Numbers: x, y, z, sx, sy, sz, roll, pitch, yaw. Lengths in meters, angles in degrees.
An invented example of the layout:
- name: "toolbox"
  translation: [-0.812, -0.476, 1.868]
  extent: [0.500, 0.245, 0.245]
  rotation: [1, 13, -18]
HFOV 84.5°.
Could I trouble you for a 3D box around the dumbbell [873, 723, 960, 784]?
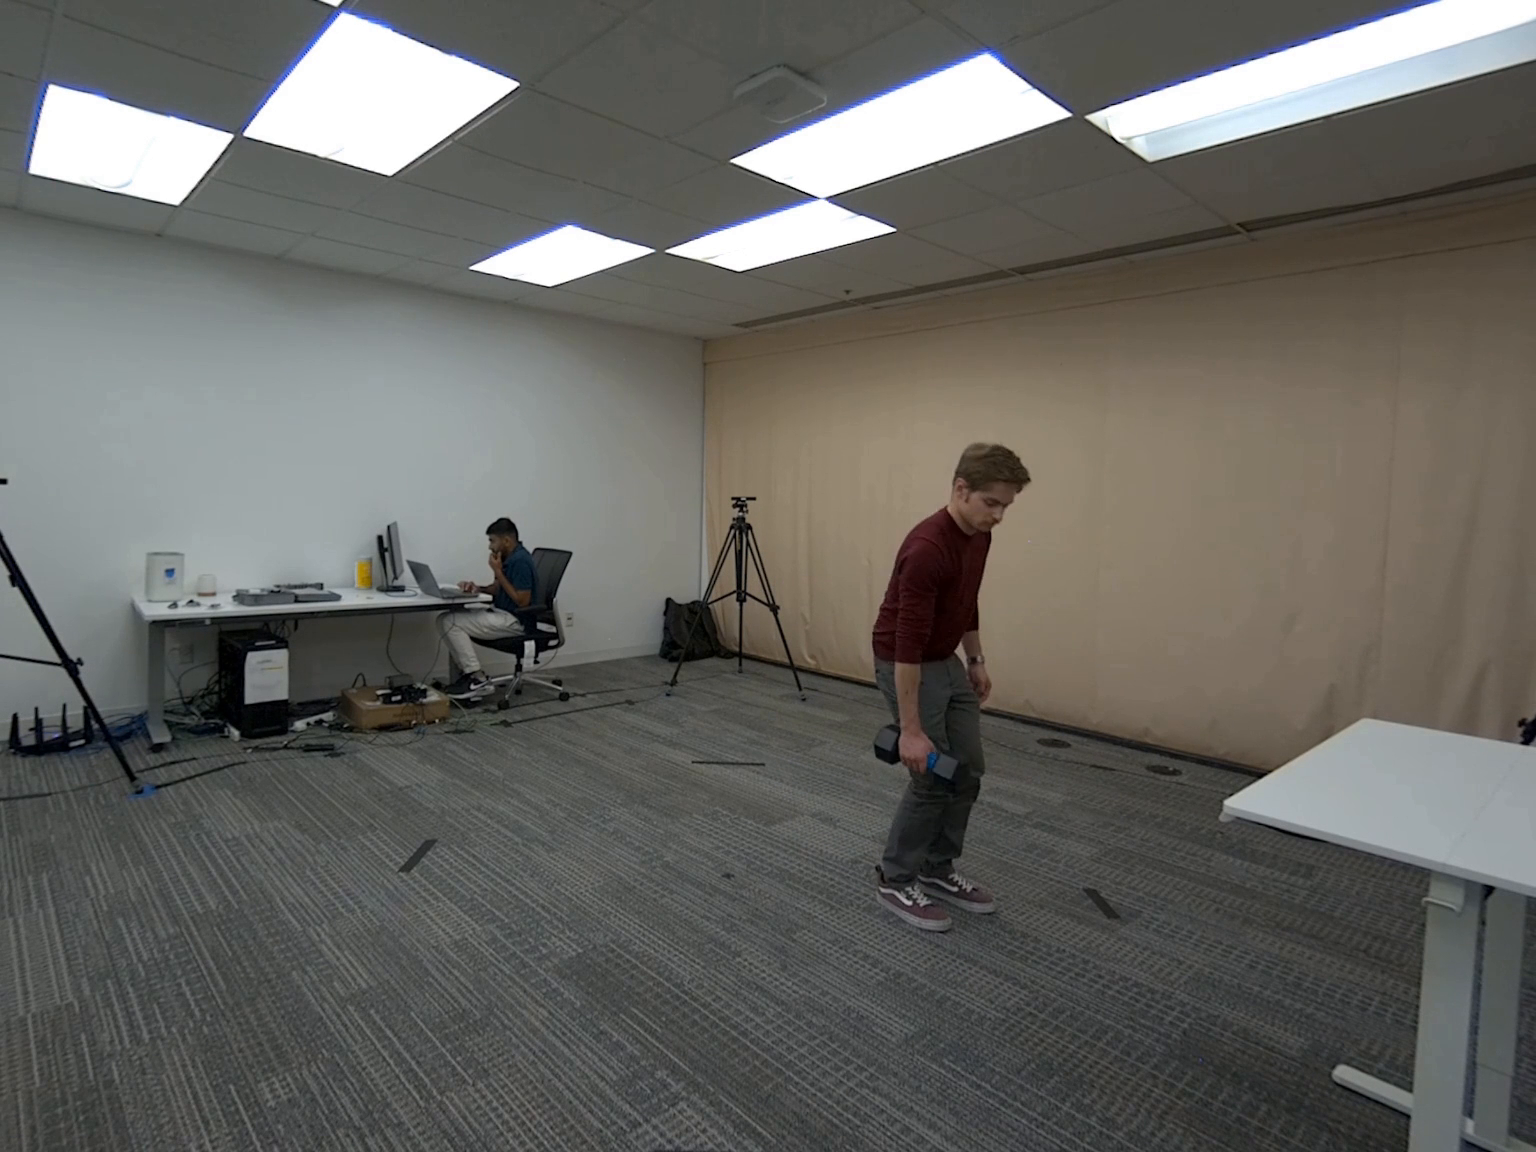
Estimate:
- name: "dumbbell"
  translation: [0.476, 0.576, 2.632]
  extent: [0.302, 0.120, 0.108]
  rotation: [18, 47, 38]
